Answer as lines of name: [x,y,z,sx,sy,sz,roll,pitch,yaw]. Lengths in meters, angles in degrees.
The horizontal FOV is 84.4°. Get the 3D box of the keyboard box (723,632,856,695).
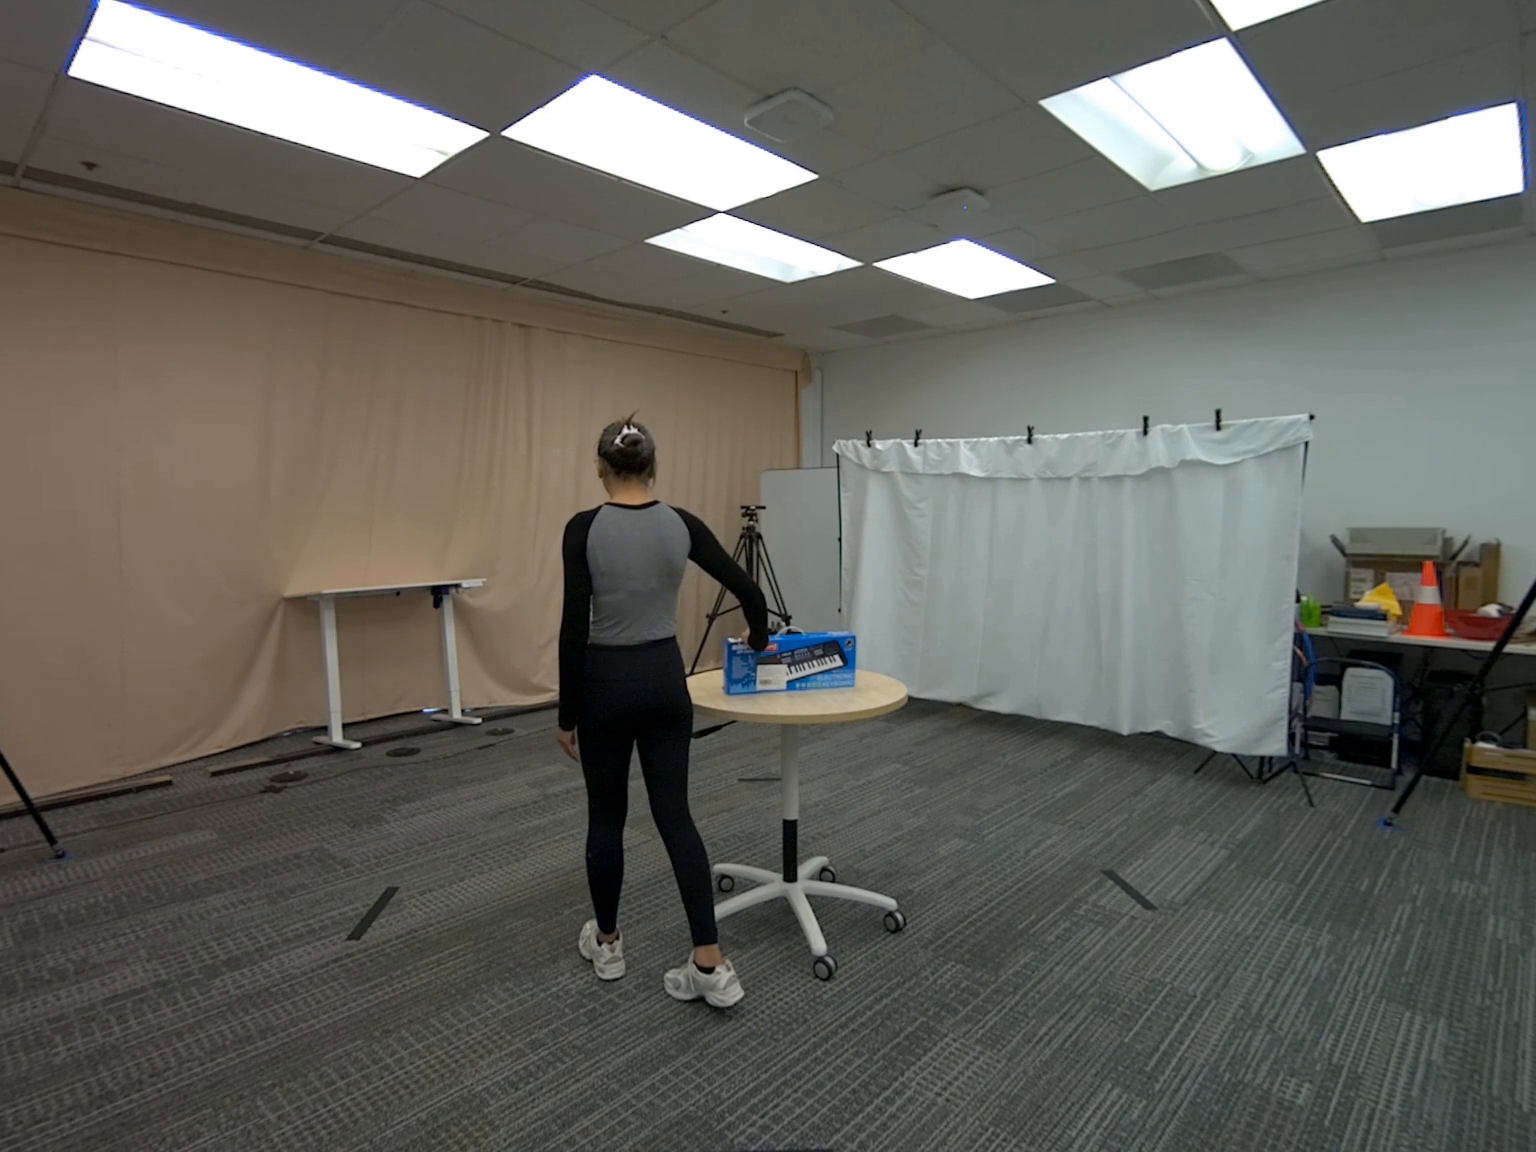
keyboard box: [0.078,0.281,2.738,0.430,0.175,0.060,-2,8,-14]
